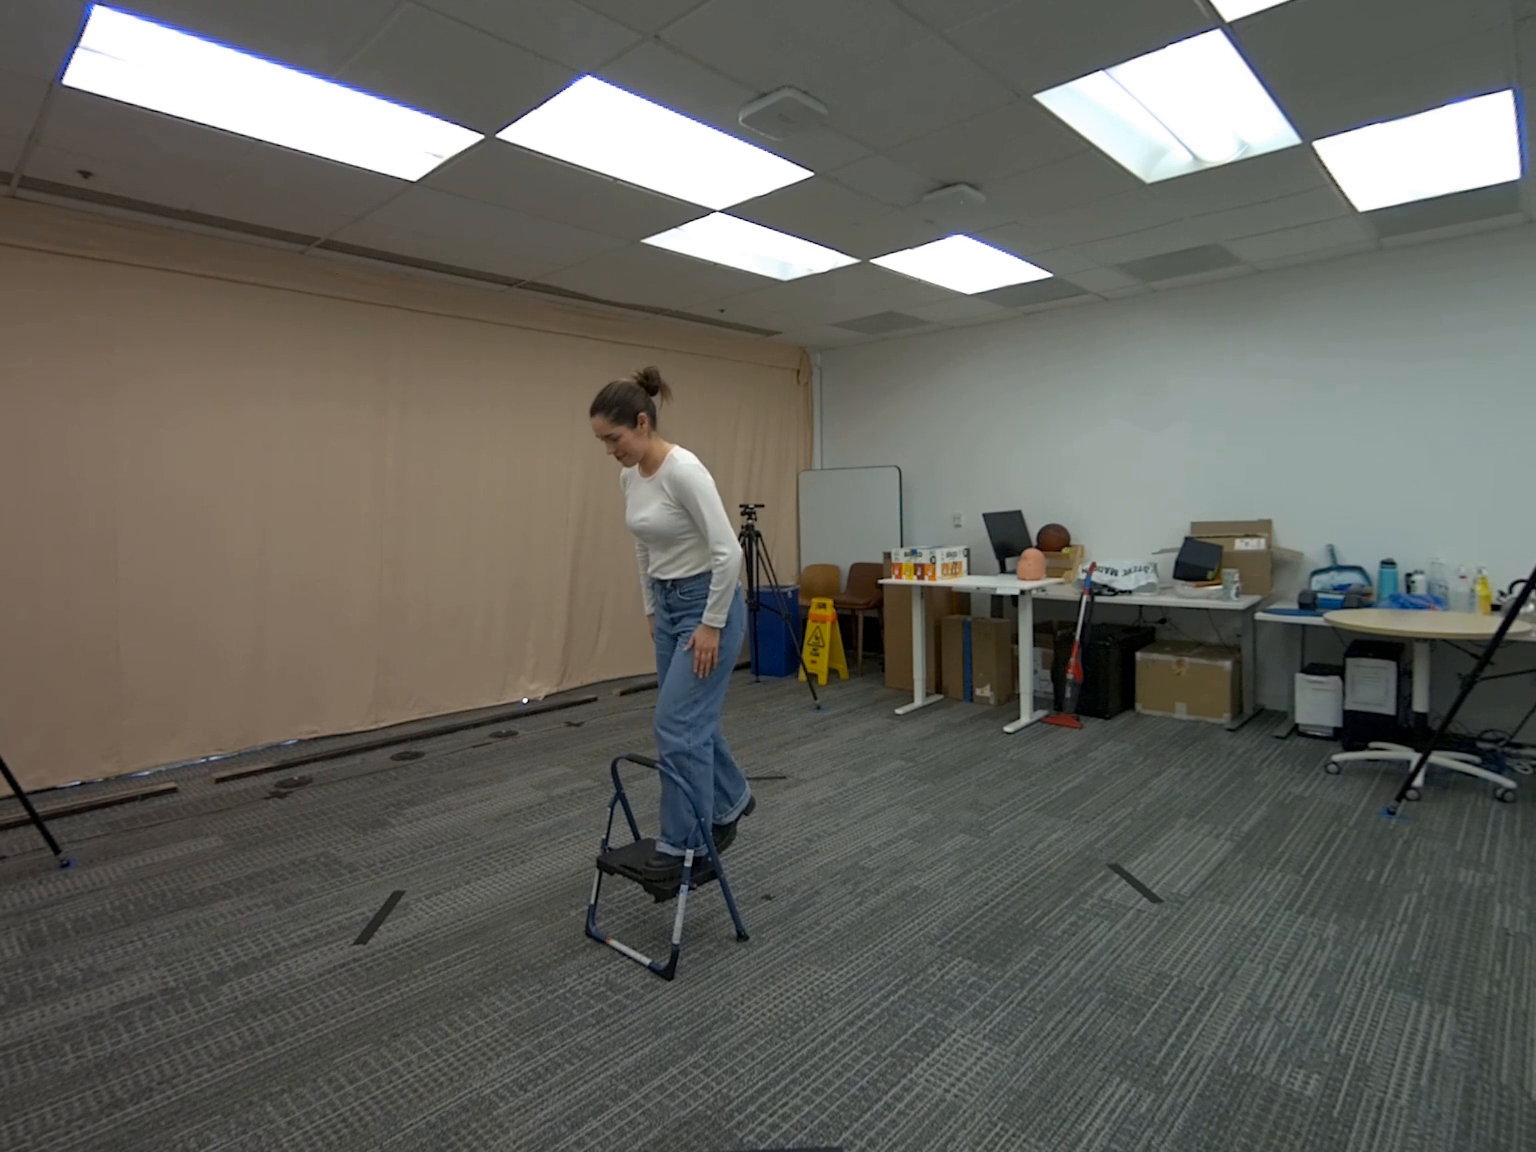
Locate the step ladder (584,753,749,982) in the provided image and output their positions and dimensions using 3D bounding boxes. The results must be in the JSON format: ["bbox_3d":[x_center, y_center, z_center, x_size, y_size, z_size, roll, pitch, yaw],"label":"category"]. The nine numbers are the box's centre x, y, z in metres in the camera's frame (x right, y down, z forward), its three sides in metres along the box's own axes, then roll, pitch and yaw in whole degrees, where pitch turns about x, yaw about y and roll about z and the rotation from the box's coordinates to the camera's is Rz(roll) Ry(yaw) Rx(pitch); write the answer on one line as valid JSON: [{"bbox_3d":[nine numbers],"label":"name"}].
[{"bbox_3d":[-0.338,0.867,2.717,0.445,0.605,0.338,1,4,42],"label":"step ladder"}]
